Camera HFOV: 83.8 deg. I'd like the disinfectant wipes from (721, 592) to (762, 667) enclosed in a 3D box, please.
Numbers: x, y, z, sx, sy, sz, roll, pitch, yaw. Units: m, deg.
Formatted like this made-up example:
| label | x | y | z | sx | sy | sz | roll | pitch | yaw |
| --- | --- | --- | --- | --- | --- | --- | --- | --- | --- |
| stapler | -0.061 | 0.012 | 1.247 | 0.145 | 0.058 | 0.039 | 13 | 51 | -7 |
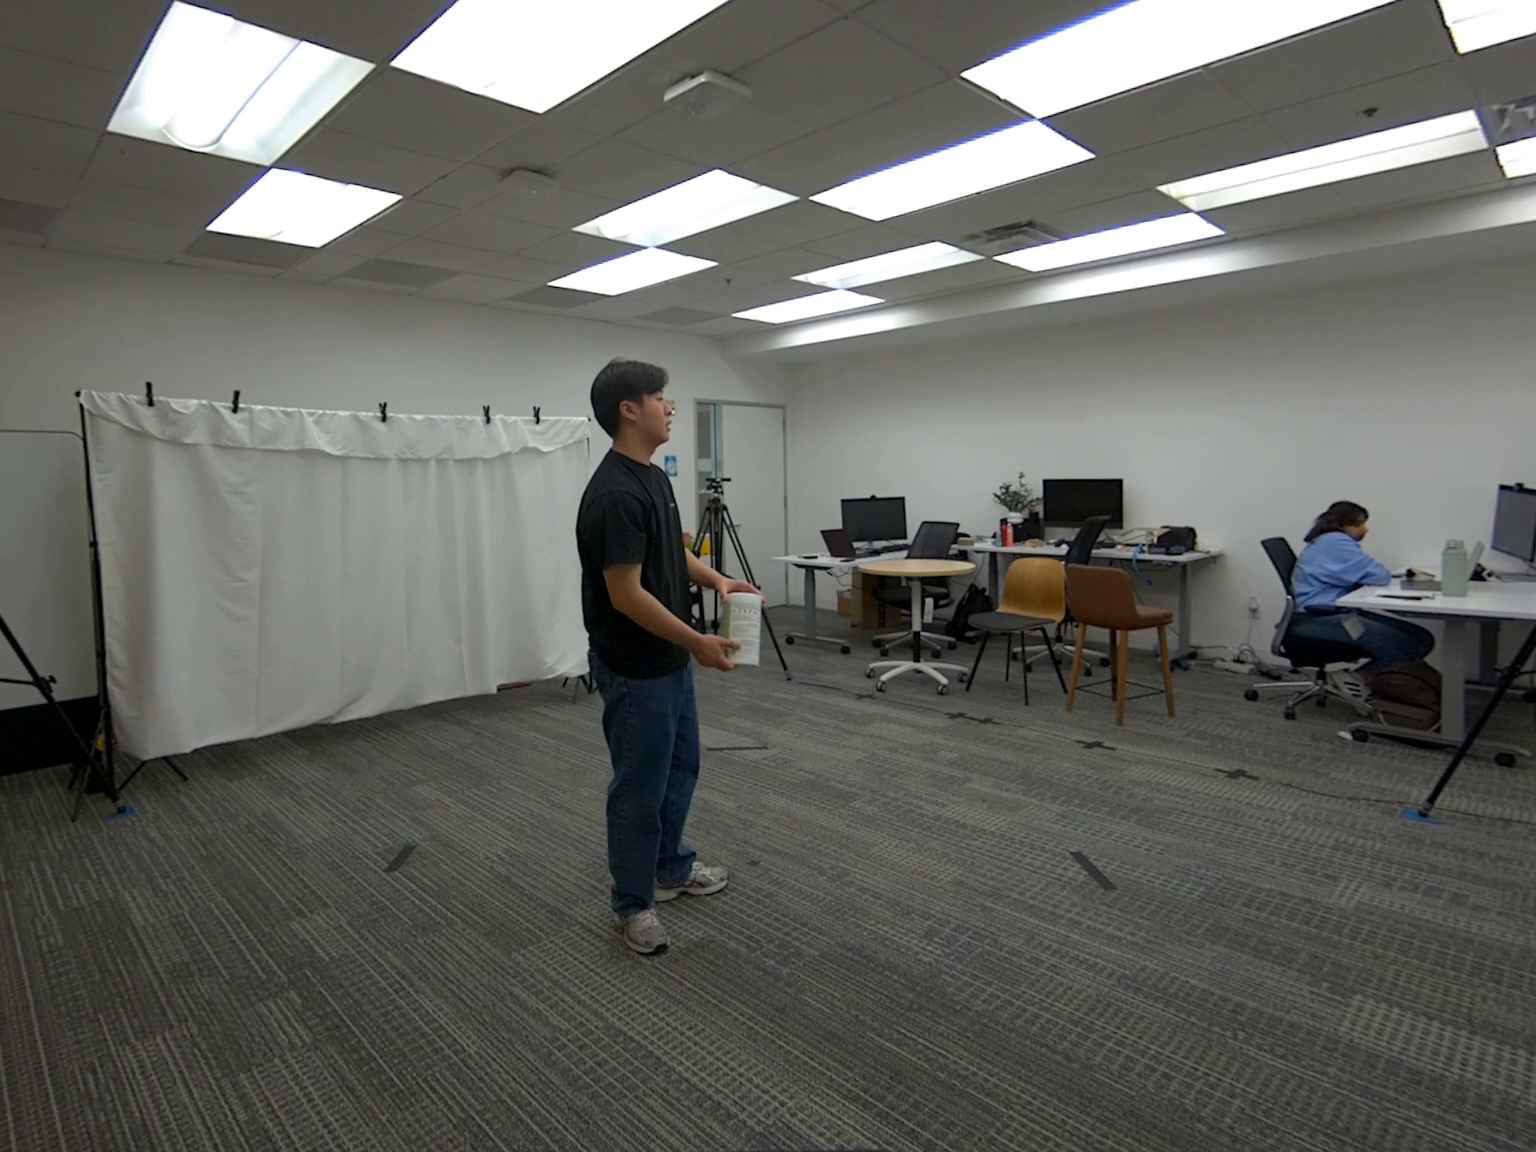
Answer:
| label | x | y | z | sx | sy | sz | roll | pitch | yaw |
| --- | --- | --- | --- | --- | --- | --- | --- | --- | --- |
| disinfectant wipes | -0.067 | 0.164 | 2.549 | 0.118 | 0.219 | 0.117 | 2 | -6 | -2 |
